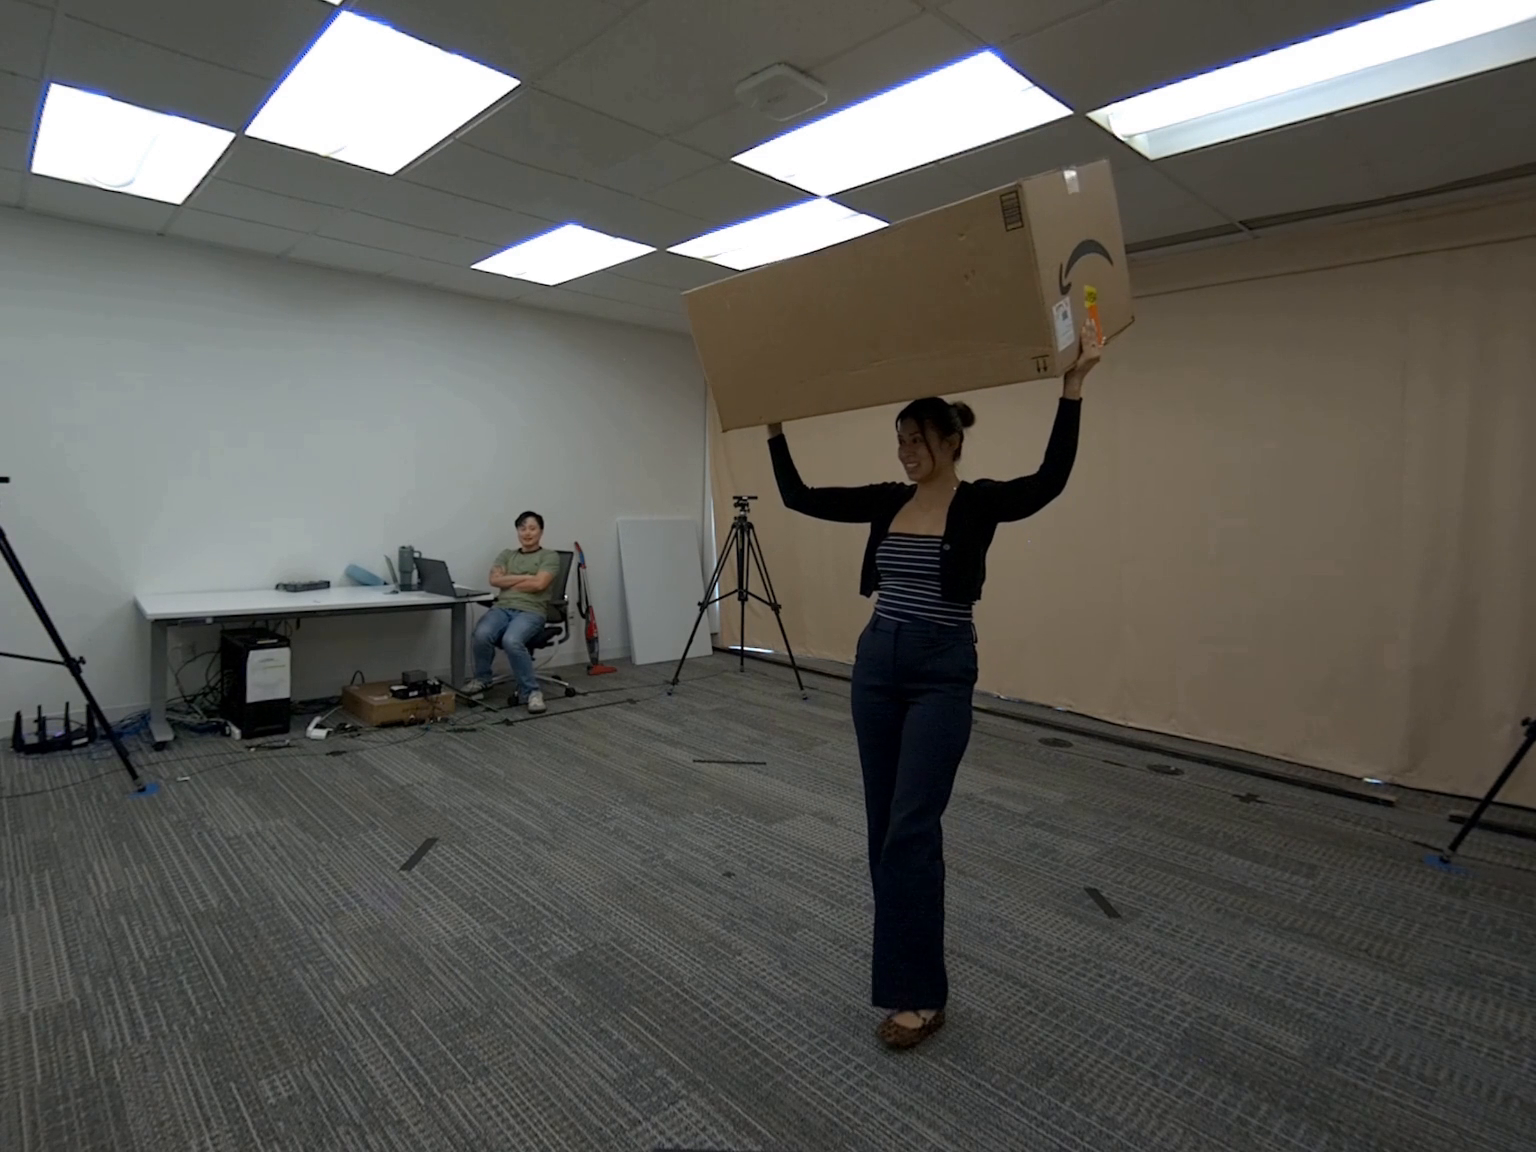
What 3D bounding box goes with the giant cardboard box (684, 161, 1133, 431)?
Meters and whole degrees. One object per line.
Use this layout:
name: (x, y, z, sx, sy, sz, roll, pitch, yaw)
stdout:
giant cardboard box: (0.356, -0.735, 2.334, 1.050, 0.420, 0.573, 0, 24, 42)
